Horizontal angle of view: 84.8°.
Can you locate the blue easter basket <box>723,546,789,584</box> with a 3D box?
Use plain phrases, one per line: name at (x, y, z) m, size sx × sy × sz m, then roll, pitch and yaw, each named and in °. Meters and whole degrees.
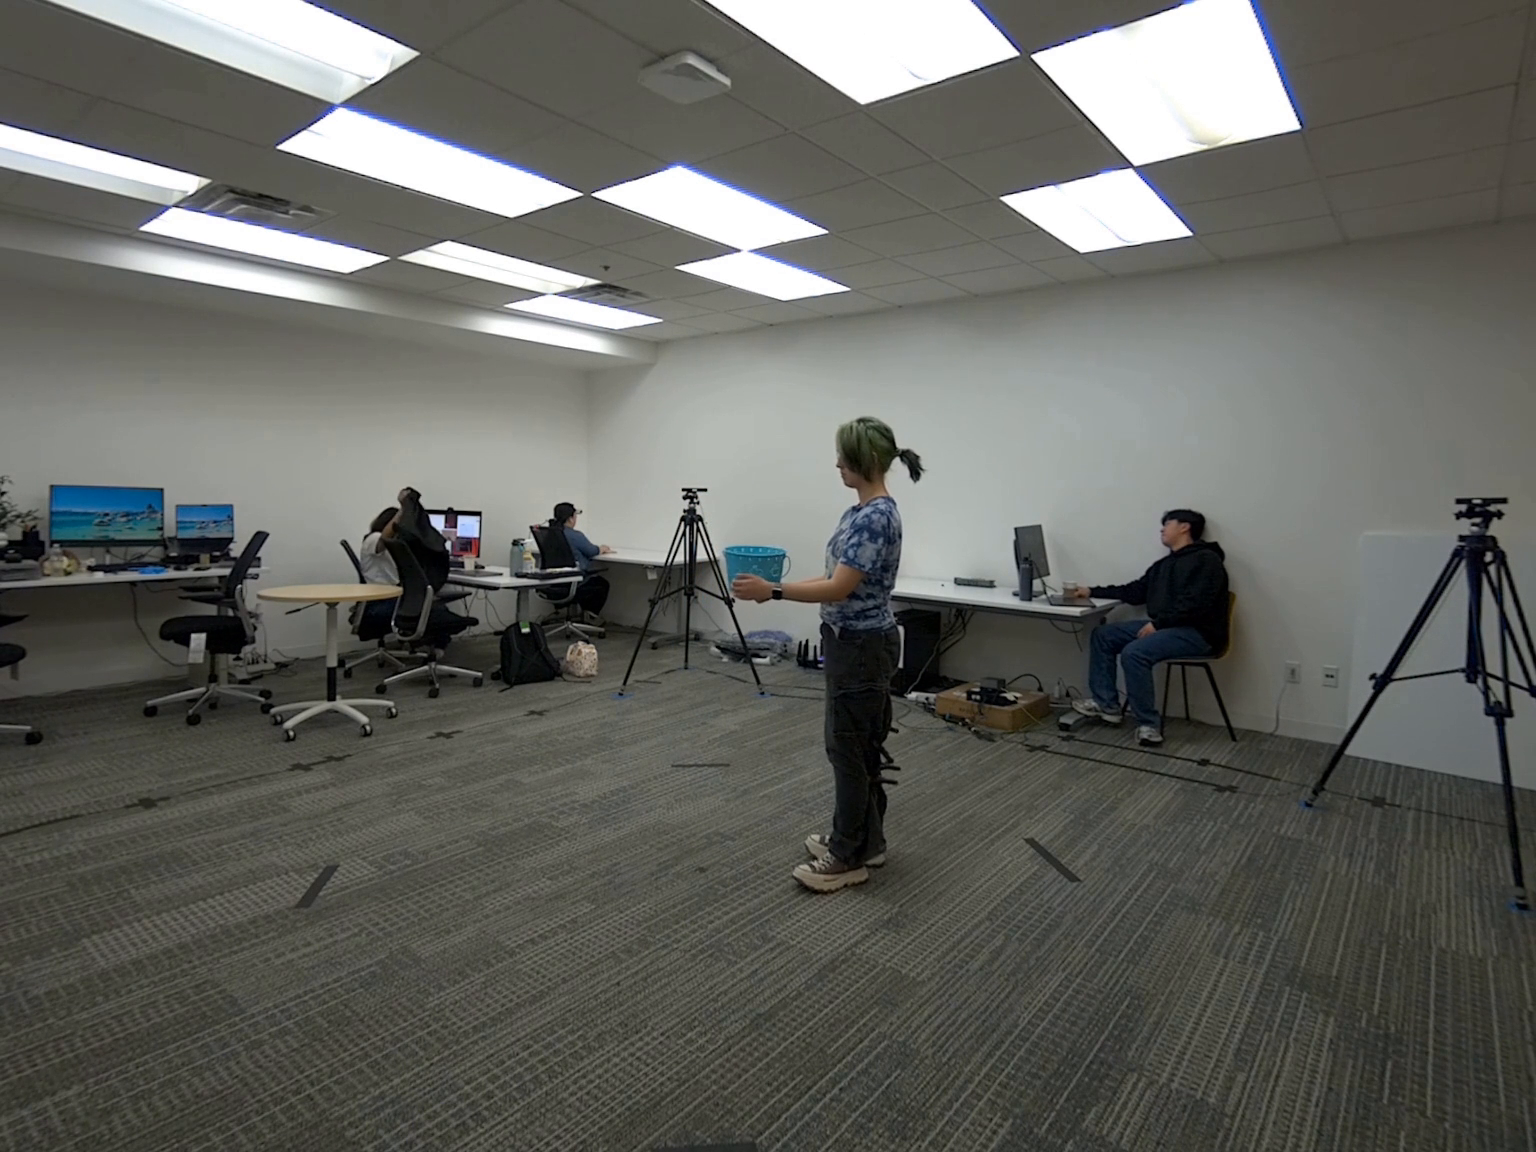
blue easter basket at (-0.061, -0.015, 3.056) m, size 0.243 × 0.155 × 0.246 m, roll 2°, pitch 9°, yaw -2°
